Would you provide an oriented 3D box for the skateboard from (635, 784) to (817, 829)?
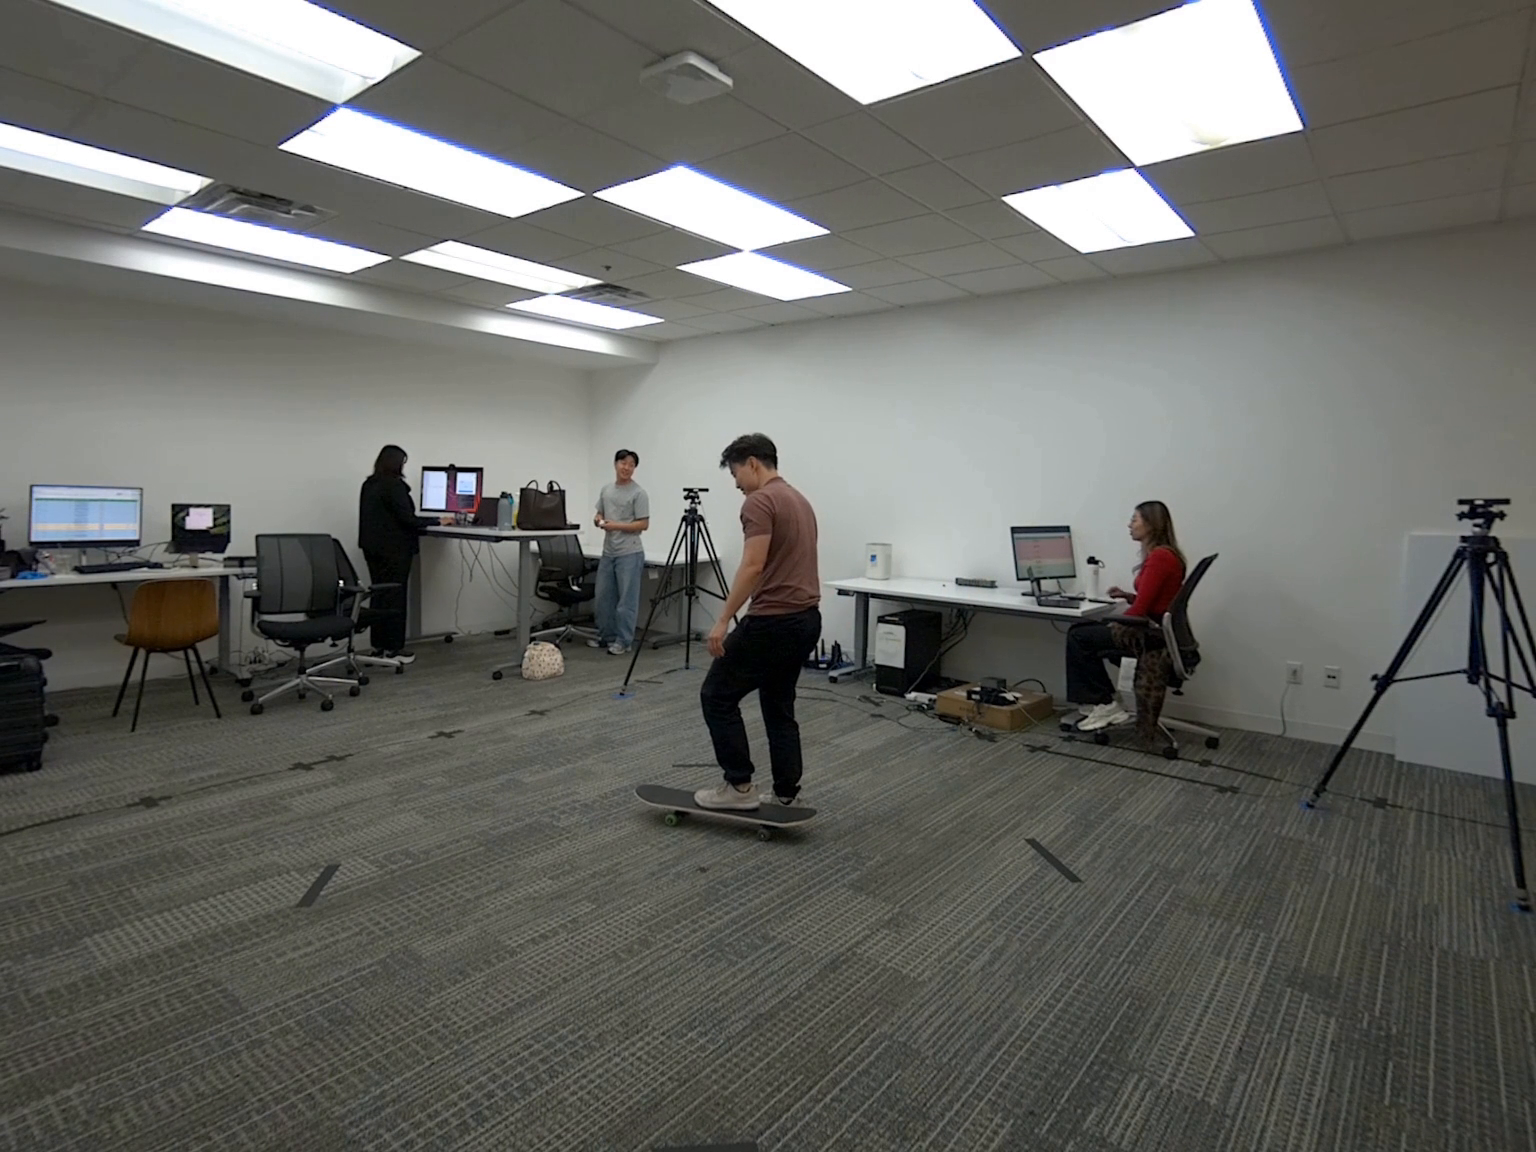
[{"bbox_3d":[-0.199,0.974,3.514,0.802,0.110,0.190,4,6,19],"label":"skateboard"}]
